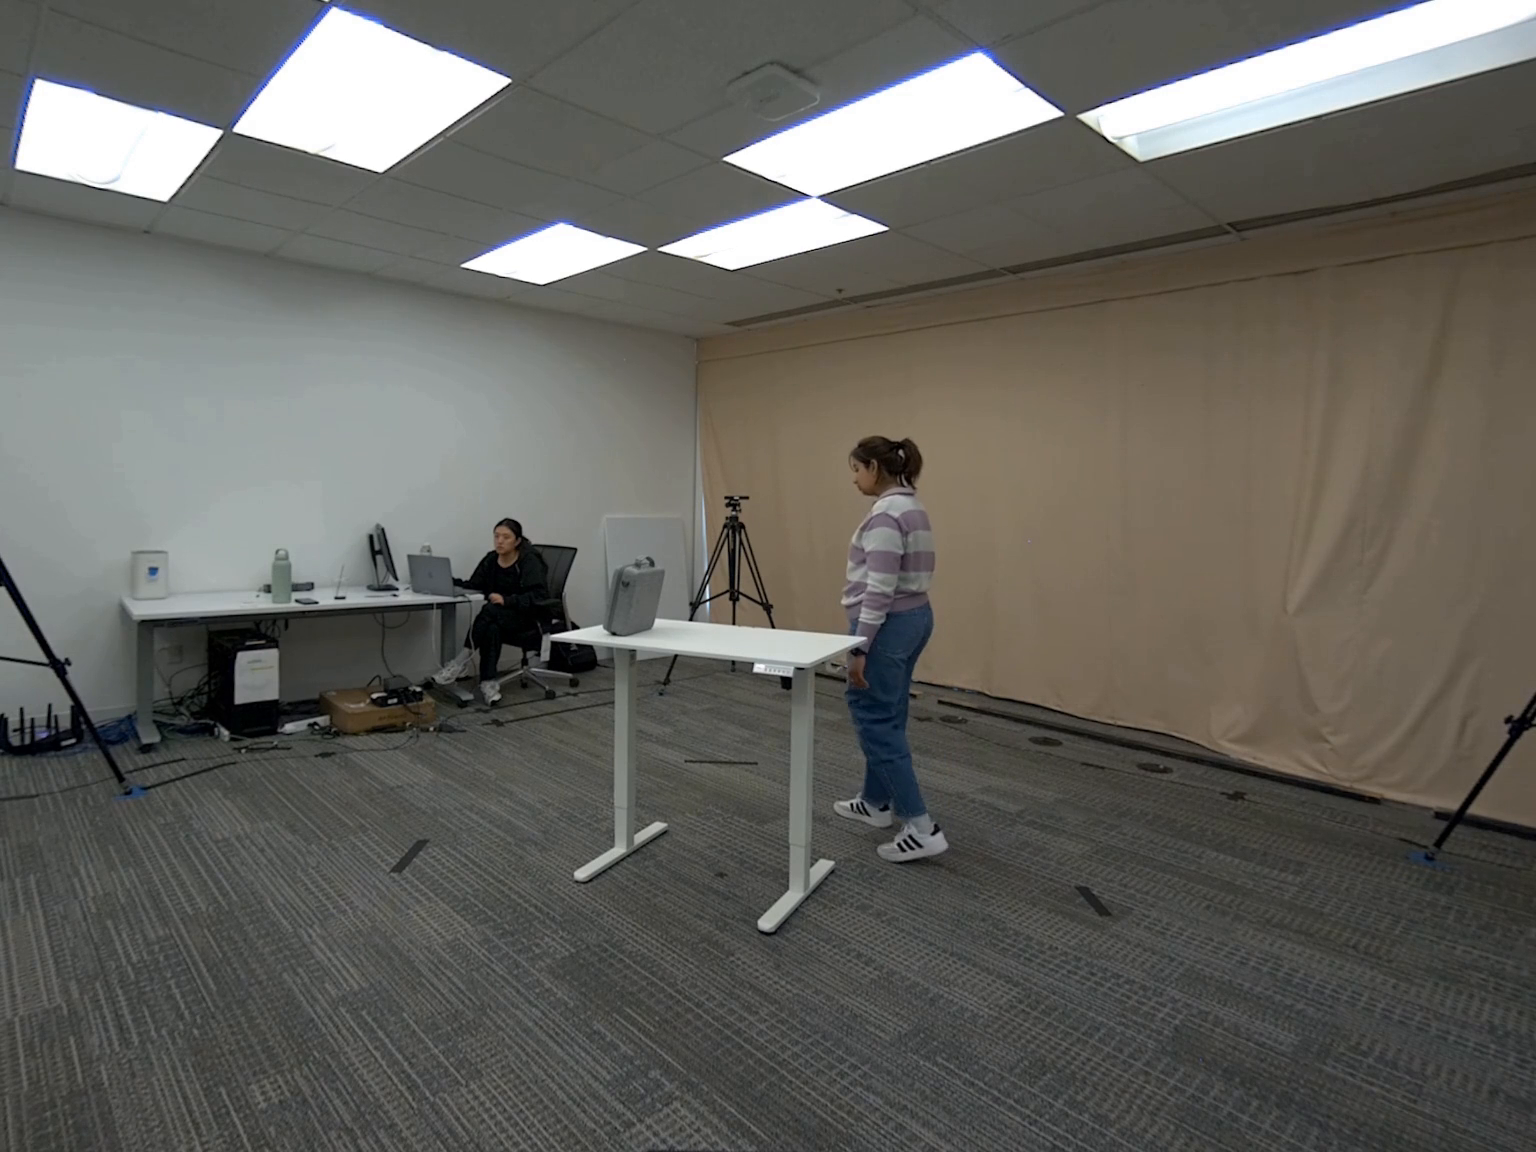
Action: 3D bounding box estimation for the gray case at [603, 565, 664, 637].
[{"bbox_3d":[-0.509,0.080,3.142,0.106,0.259,0.254,12,8,16],"label":"gray case"}]
